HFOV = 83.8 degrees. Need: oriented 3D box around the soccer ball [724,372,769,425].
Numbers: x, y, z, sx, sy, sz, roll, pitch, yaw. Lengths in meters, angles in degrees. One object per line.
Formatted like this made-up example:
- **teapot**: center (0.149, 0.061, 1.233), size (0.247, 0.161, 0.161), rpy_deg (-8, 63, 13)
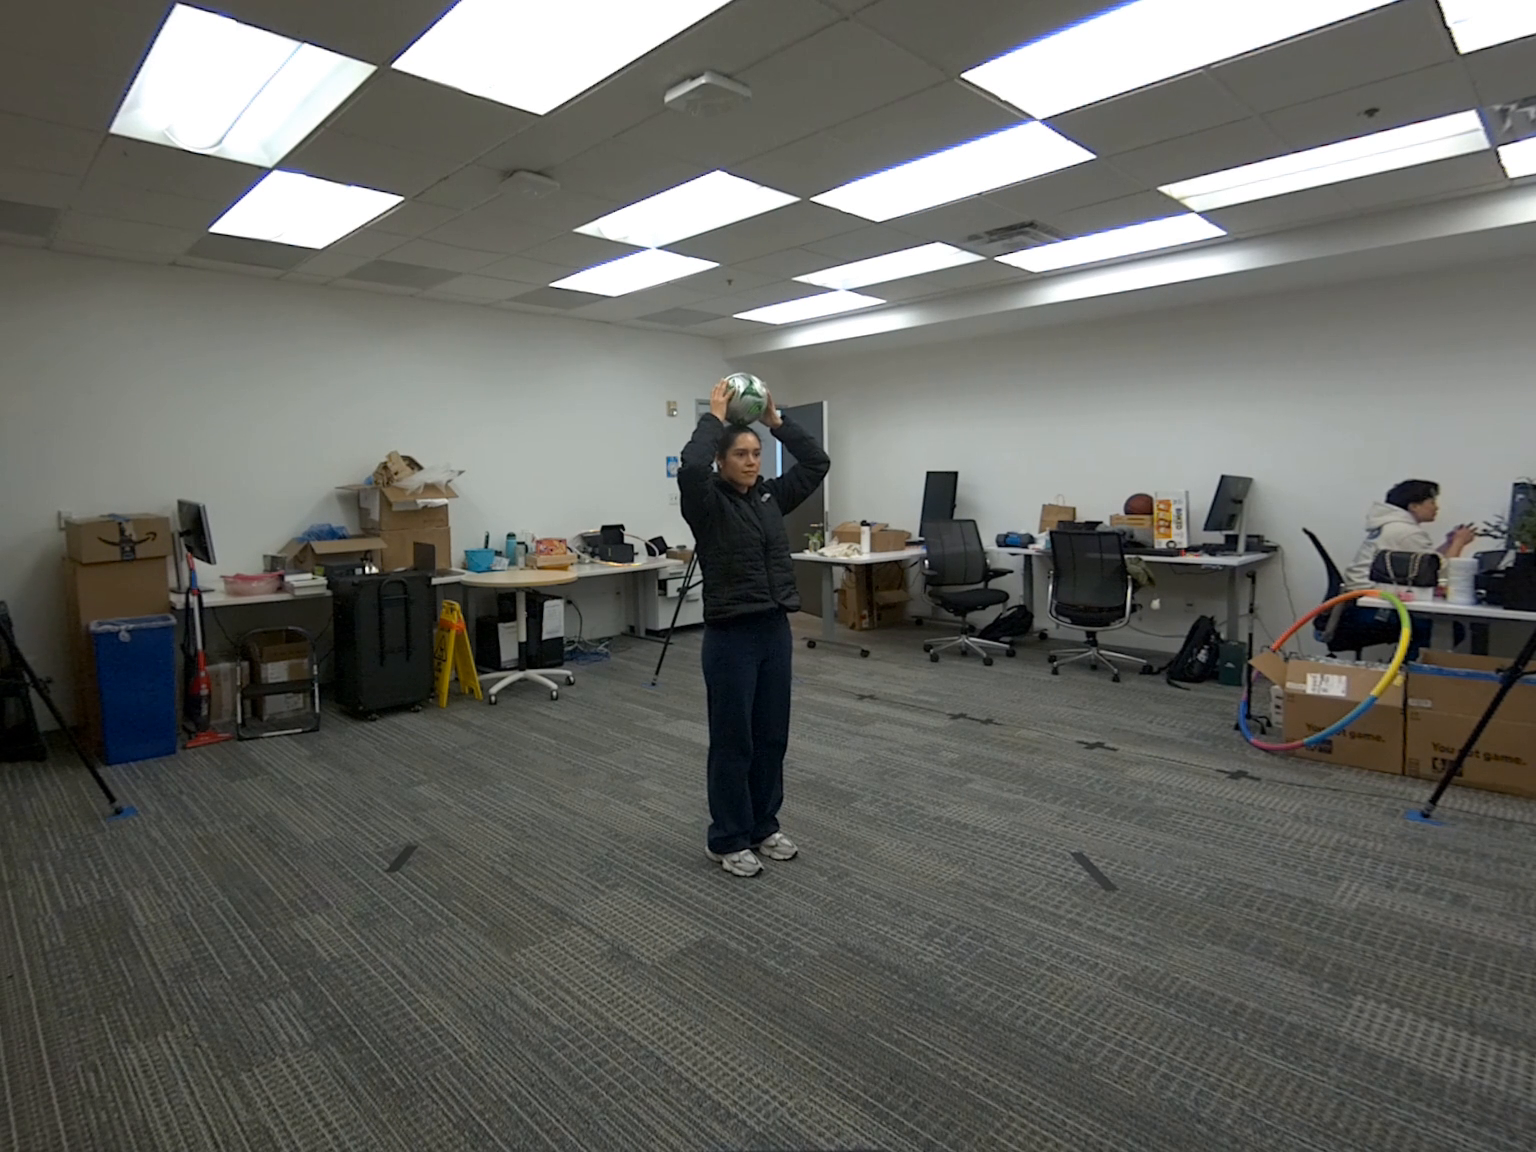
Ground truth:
- **soccer ball**: center (-0.094, -0.635, 3.072), size (0.187, 0.187, 0.188), rpy_deg (-1, 5, -2)
